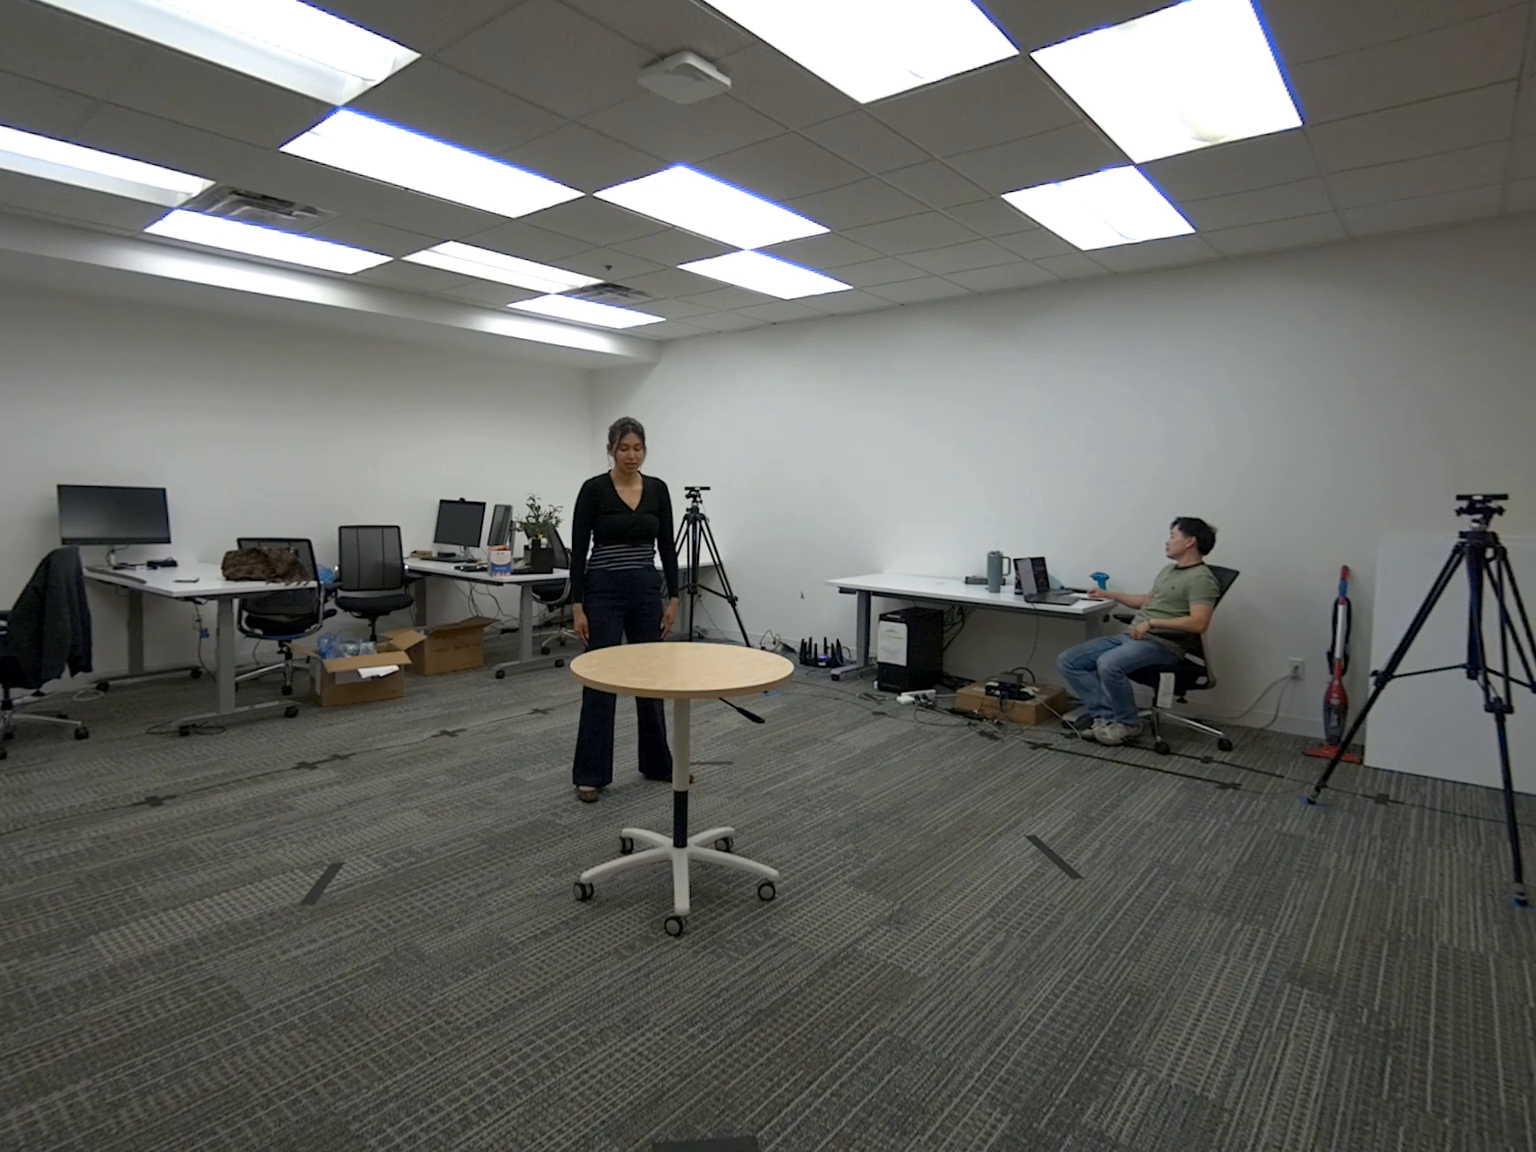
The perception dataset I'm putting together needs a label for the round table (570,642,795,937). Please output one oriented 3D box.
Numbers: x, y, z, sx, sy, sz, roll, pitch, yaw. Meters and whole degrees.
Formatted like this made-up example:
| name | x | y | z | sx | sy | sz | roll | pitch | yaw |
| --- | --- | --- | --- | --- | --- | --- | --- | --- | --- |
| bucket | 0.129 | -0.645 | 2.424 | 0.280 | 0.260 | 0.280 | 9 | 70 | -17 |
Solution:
| name | x | y | z | sx | sy | sz | roll | pitch | yaw |
| --- | --- | --- | --- | --- | --- | --- | --- | --- | --- |
| round table | -0.312 | 0.692 | 2.955 | 0.763 | 0.791 | 0.768 | 1 | 4 | -2 |
